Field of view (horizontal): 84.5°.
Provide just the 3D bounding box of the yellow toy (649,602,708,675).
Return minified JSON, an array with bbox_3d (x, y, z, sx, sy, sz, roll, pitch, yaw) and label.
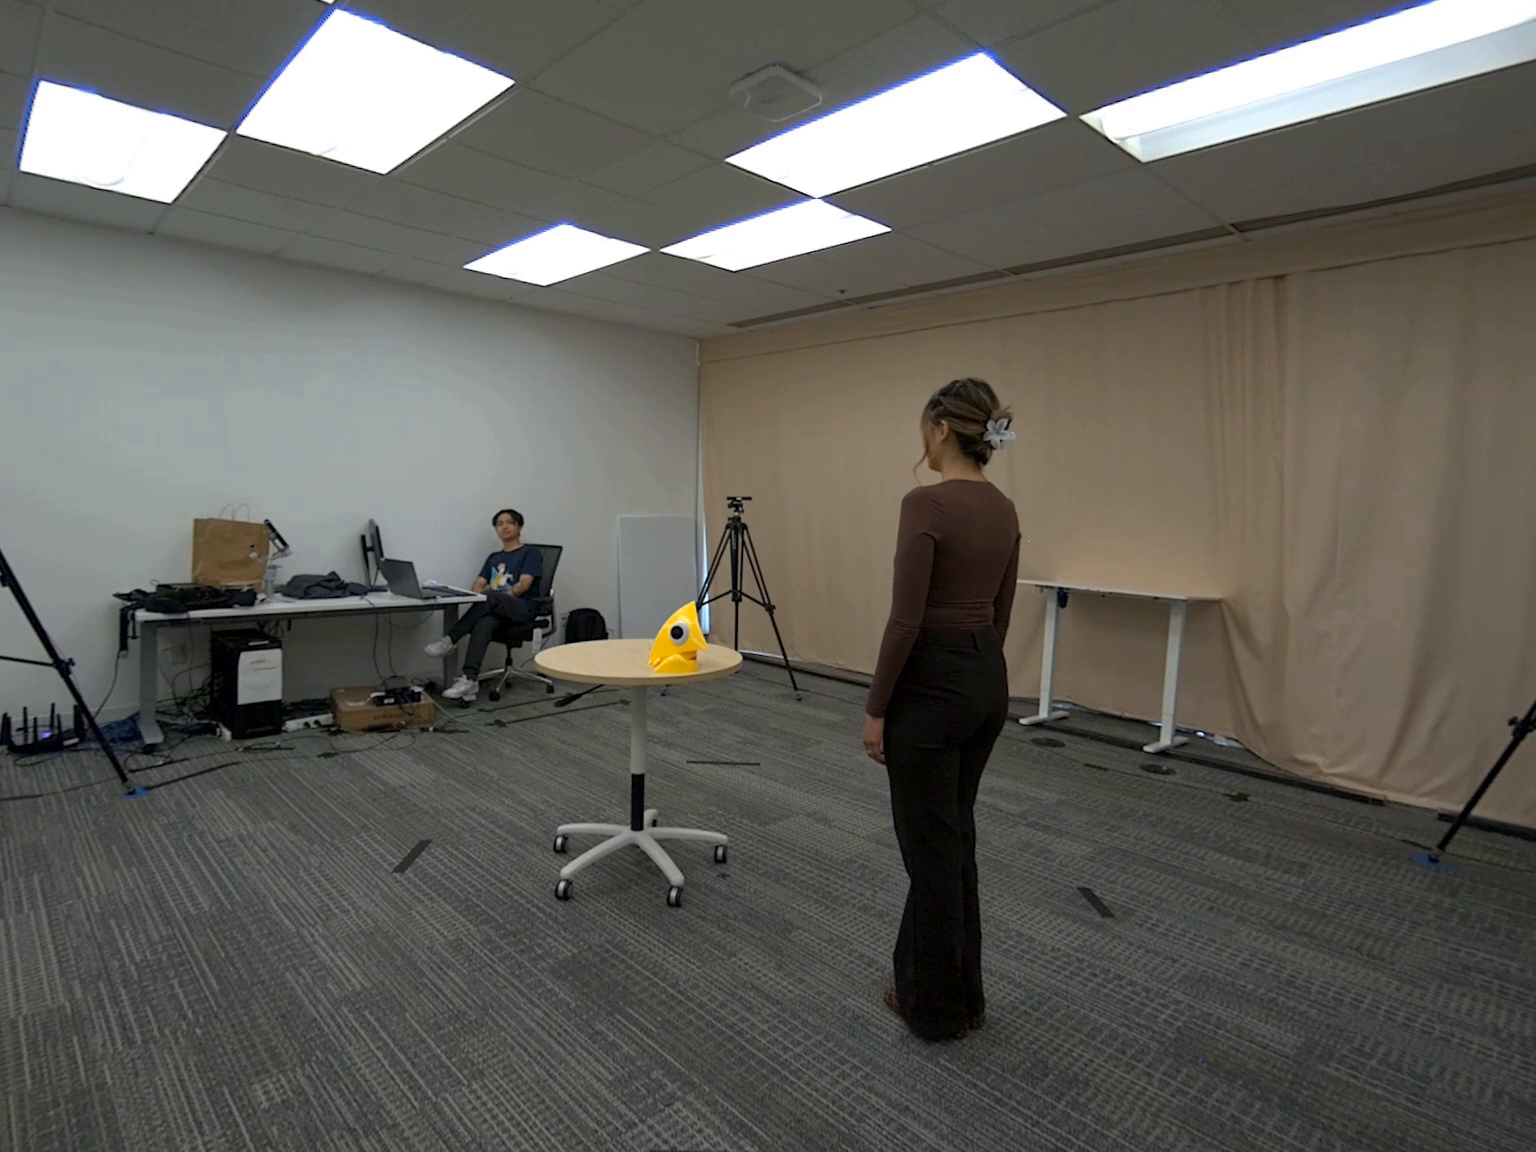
[{"bbox_3d":[-0.326,0.205,2.935,0.191,0.230,0.208,0,4,-16],"label":"yellow toy"}]
